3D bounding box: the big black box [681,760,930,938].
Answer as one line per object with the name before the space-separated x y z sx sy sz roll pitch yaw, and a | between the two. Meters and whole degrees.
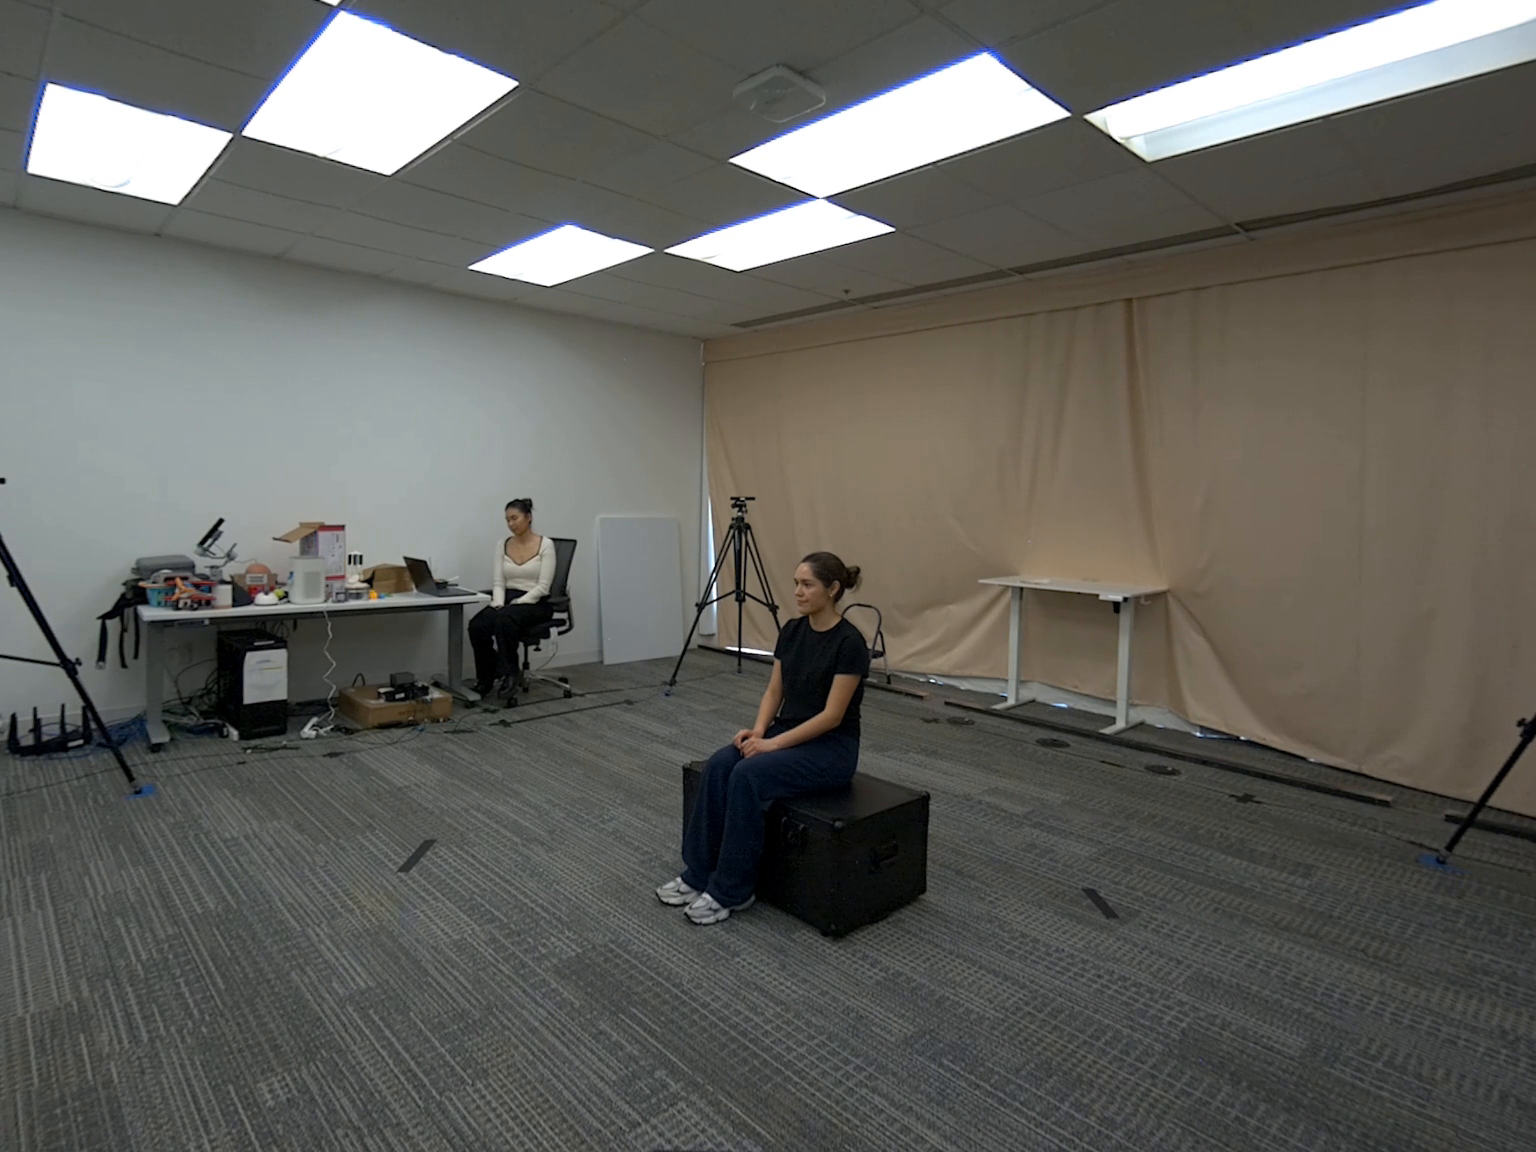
big black box | 0.094 0.926 3.088 0.509 0.395 0.884 -2 6 -43
